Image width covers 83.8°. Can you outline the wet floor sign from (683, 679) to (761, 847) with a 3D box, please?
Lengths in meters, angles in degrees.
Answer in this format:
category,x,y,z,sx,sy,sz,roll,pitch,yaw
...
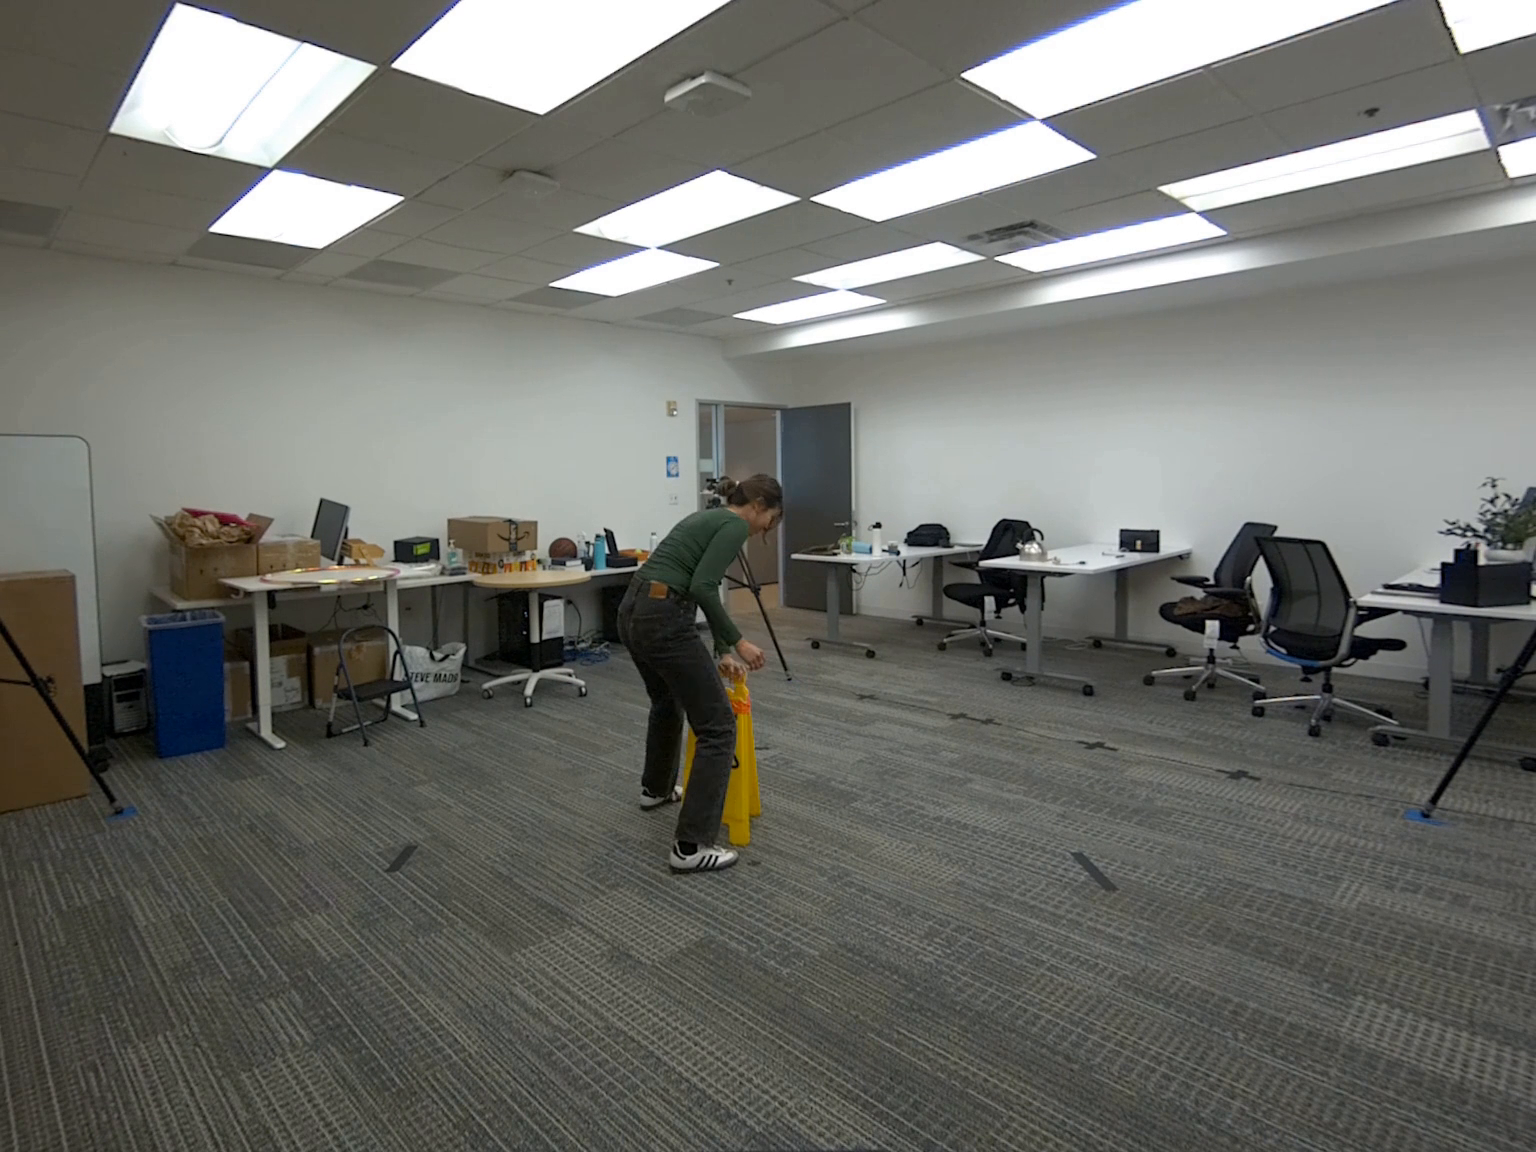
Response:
category,x,y,z,sx,sy,sz,roll,pitch,yaw
wet floor sign,-0.191,0.692,3.410,0.285,0.644,0.288,-1,3,9
